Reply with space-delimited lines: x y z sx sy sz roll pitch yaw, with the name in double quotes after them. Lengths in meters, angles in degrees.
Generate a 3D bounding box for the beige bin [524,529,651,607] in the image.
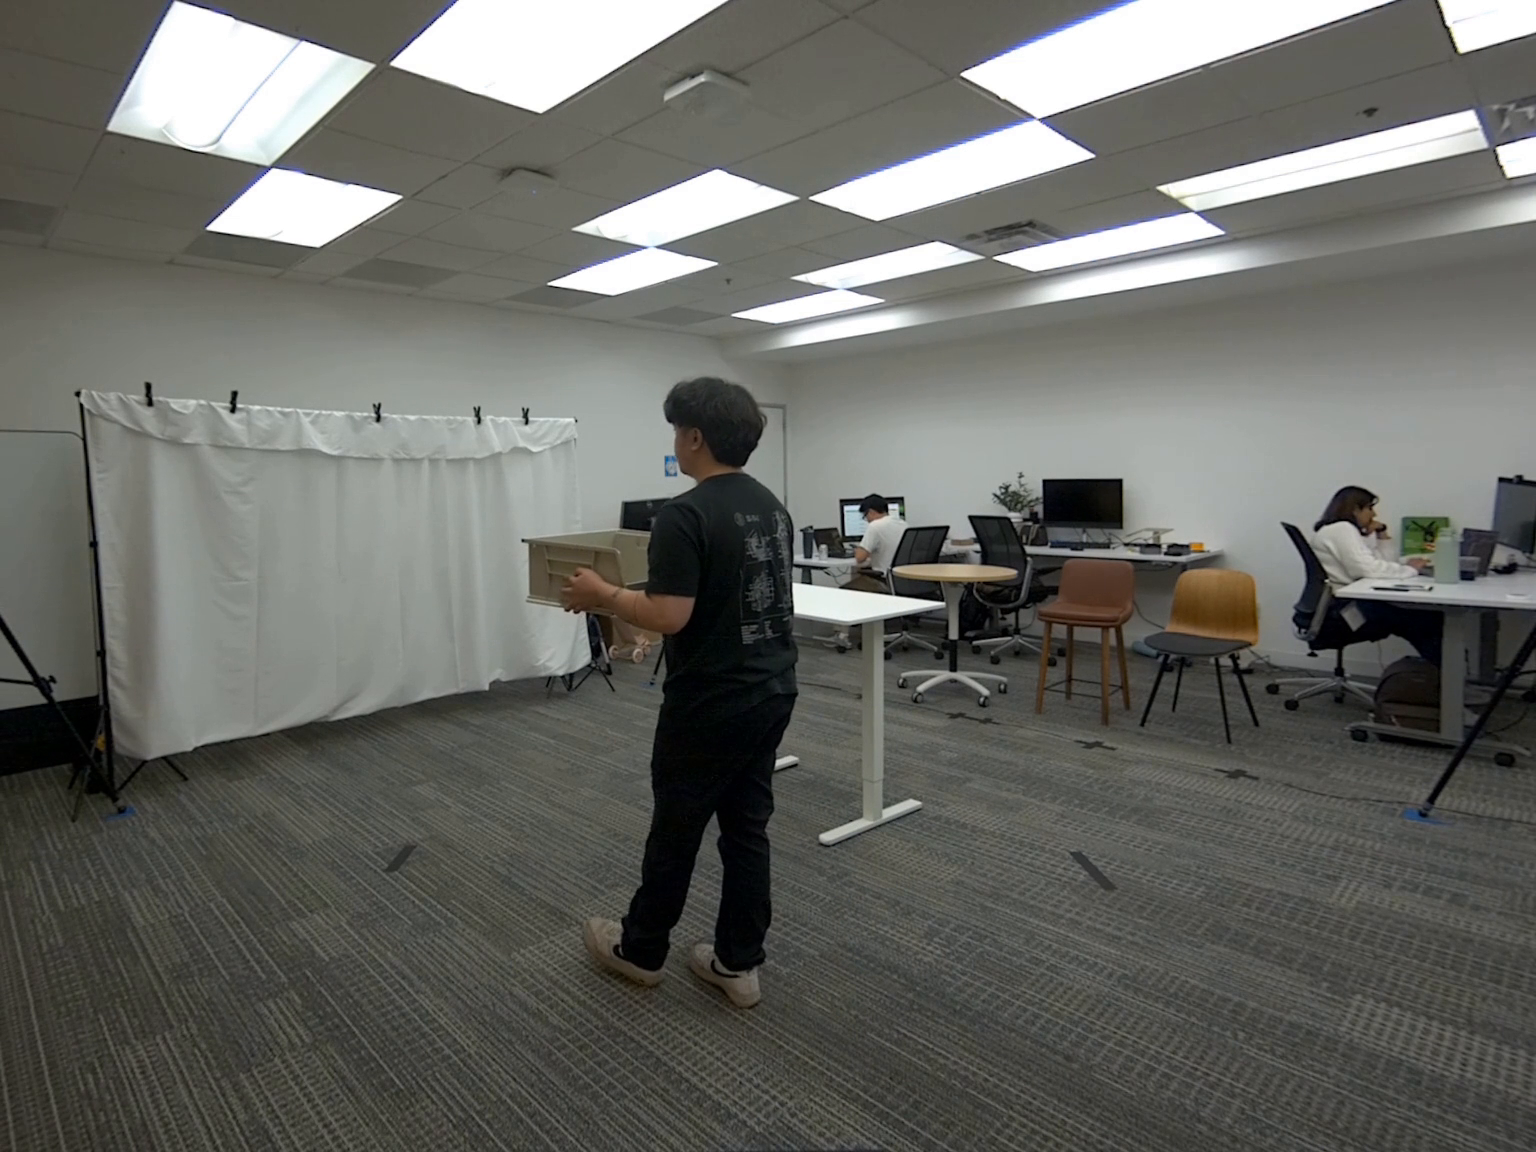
-0.425 -0.021 2.474 0.388 0.188 0.413 5 9 31 "beige bin"
